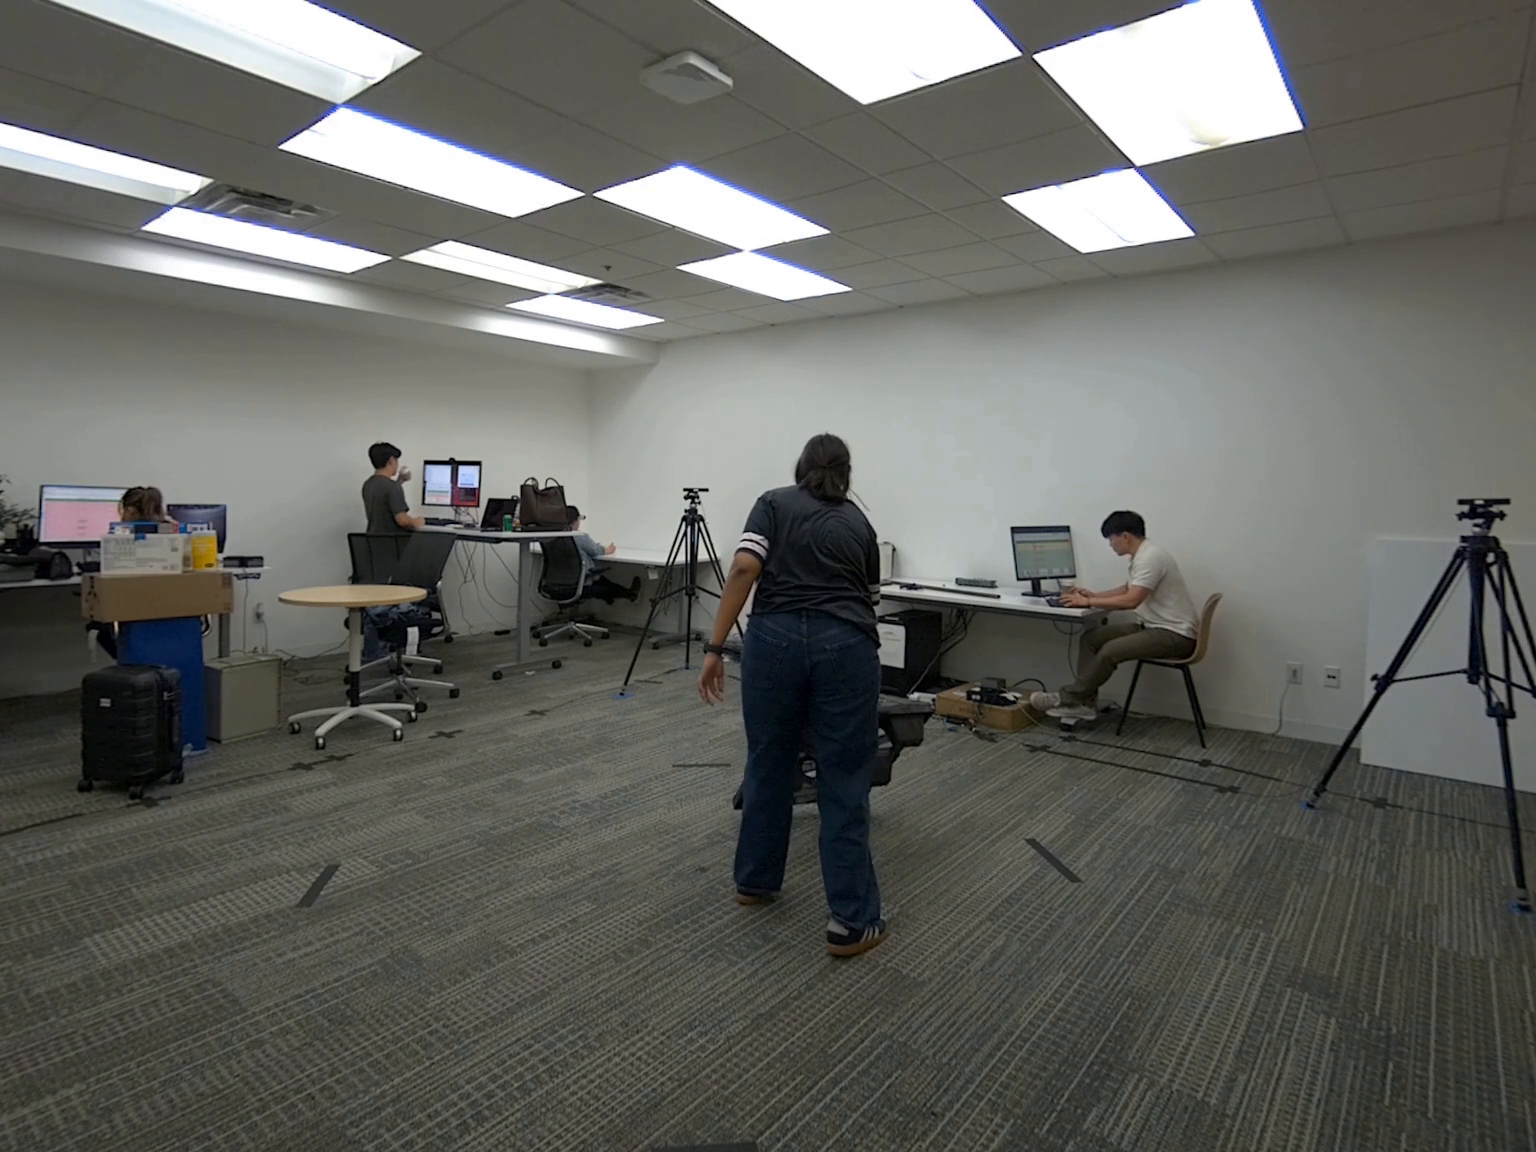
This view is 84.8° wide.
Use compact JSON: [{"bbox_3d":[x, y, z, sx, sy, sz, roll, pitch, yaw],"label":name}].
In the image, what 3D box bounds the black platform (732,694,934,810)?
[{"bbox_3d":[0.233,0.755,3.326,0.596,0.148,0.792,1,-38,-15],"label":"black platform"}]
